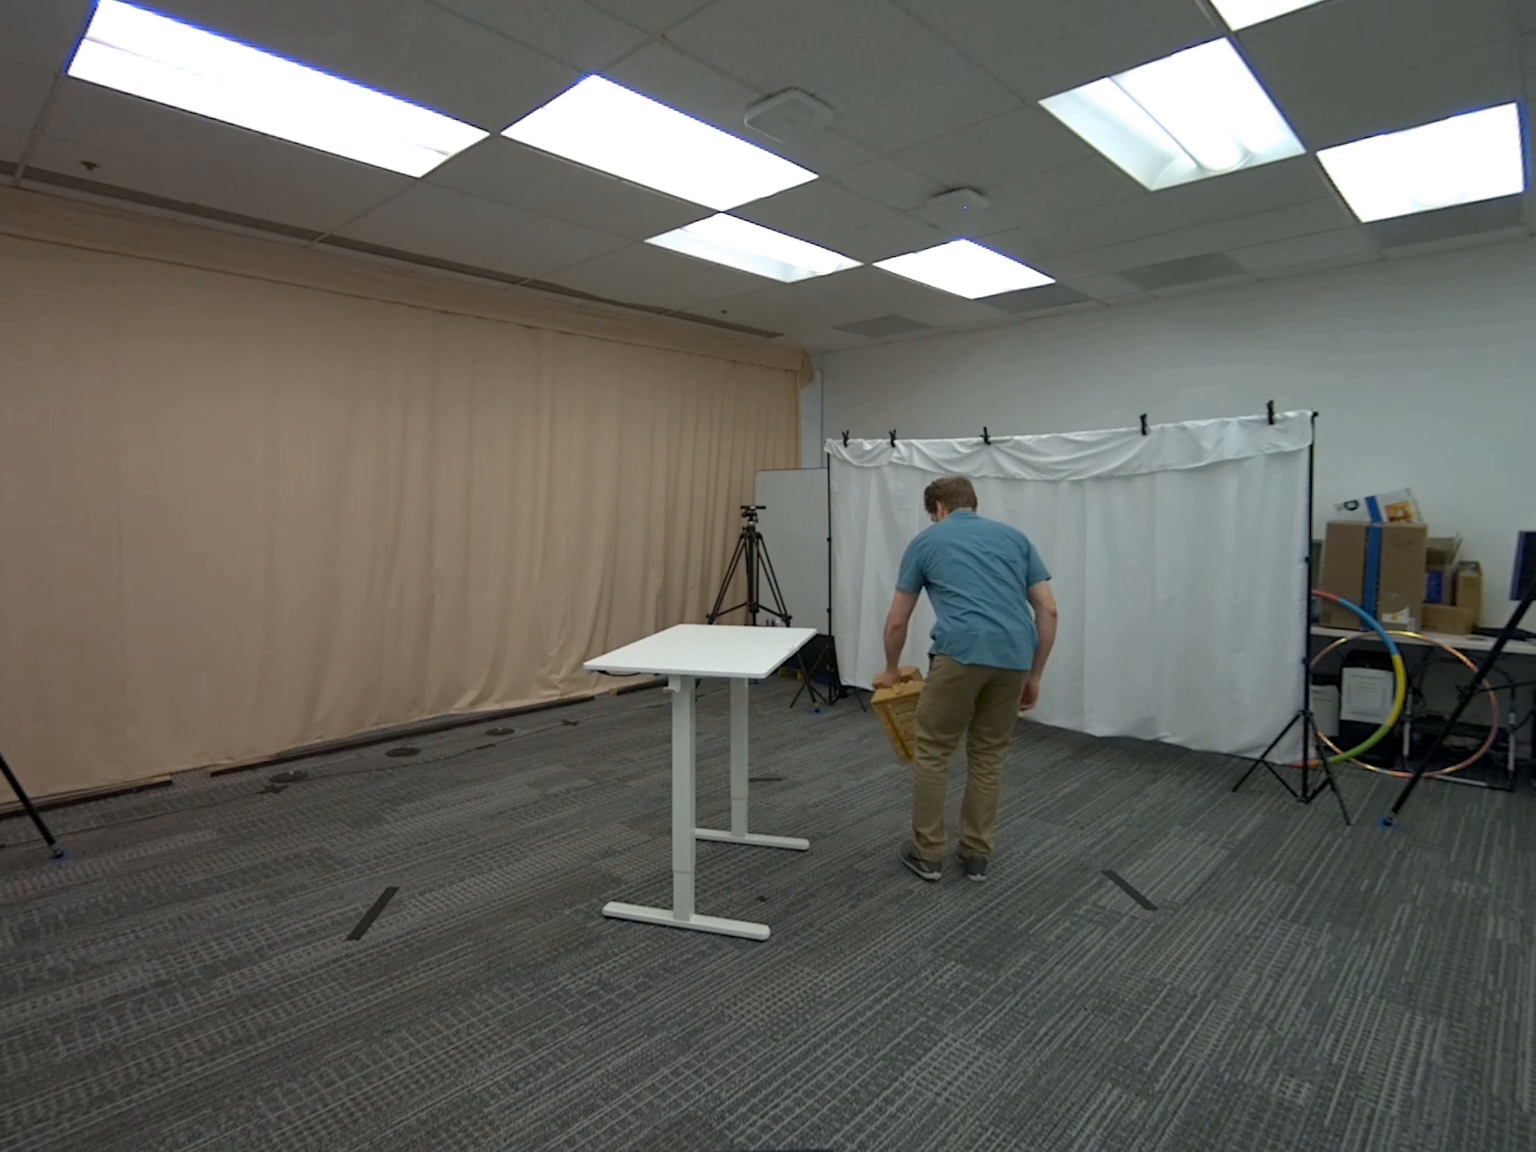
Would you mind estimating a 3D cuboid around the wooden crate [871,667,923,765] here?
[{"bbox_3d":[0.617,0.565,3.498,0.308,0.321,0.270,-21,12,31],"label":"wooden crate"}]
